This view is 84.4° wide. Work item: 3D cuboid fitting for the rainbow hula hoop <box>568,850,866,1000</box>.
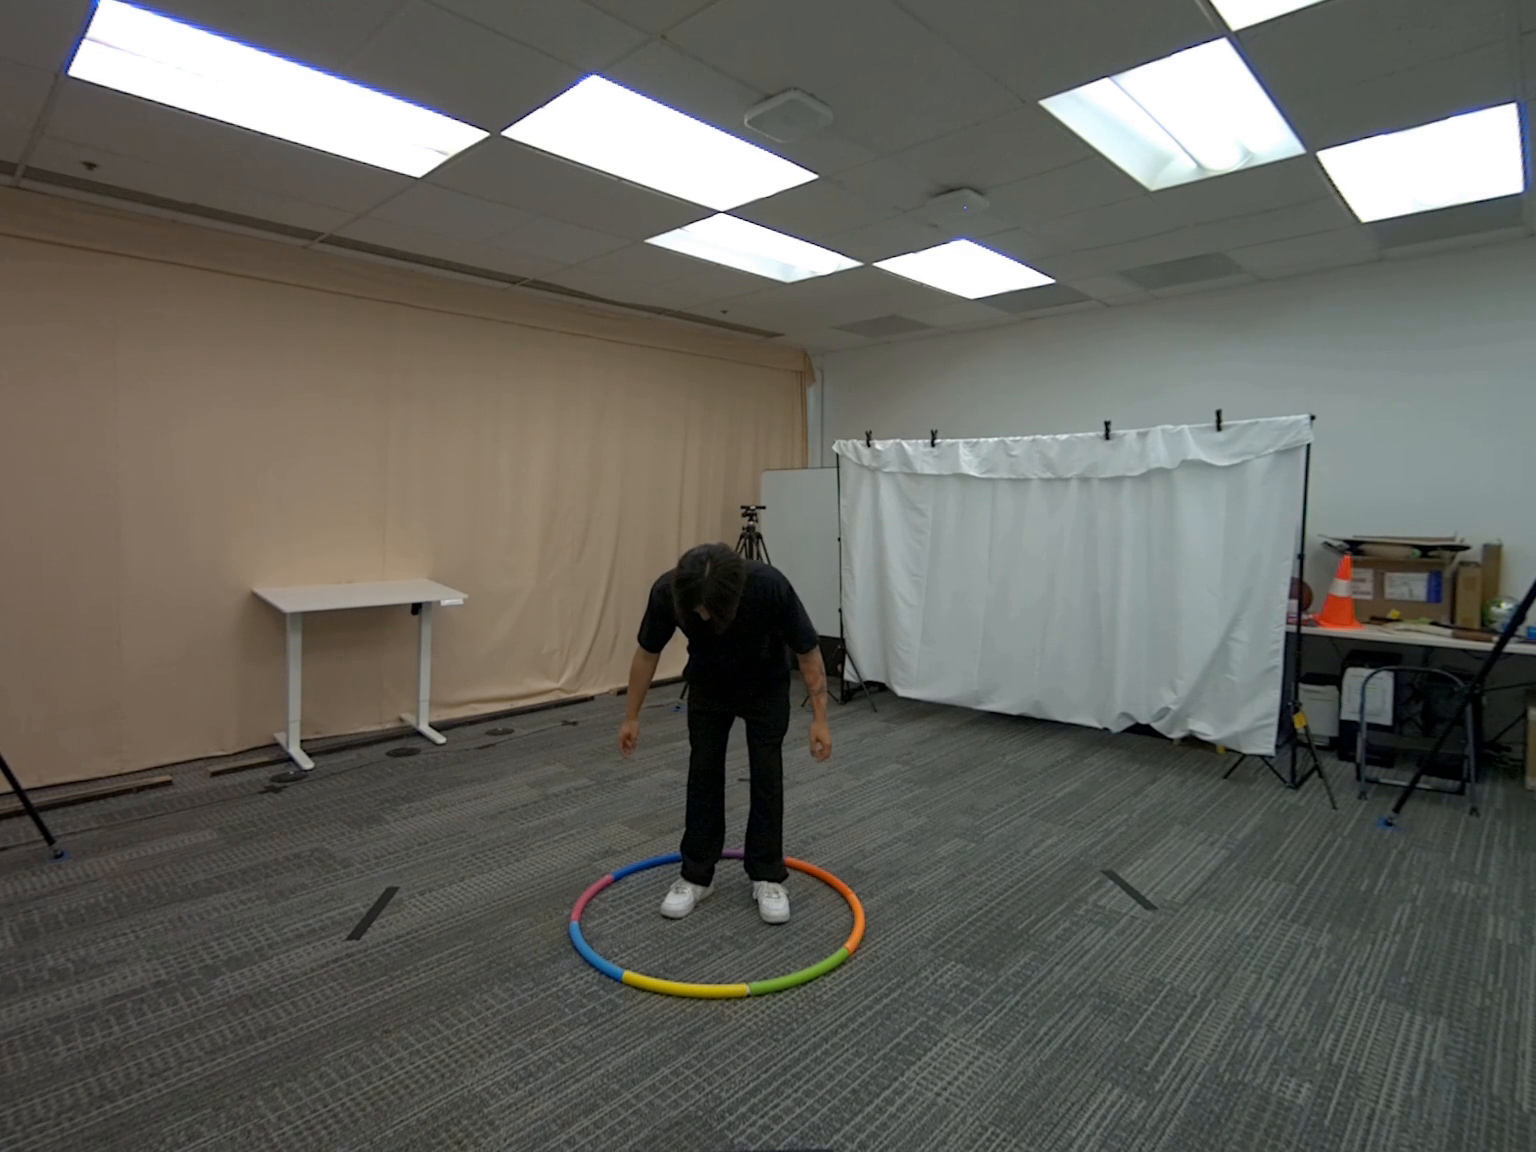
[{"bbox_3d":[-0.169,1.126,2.860,0.978,0.035,0.982,-1,4,-2],"label":"rainbow hula hoop"}]
